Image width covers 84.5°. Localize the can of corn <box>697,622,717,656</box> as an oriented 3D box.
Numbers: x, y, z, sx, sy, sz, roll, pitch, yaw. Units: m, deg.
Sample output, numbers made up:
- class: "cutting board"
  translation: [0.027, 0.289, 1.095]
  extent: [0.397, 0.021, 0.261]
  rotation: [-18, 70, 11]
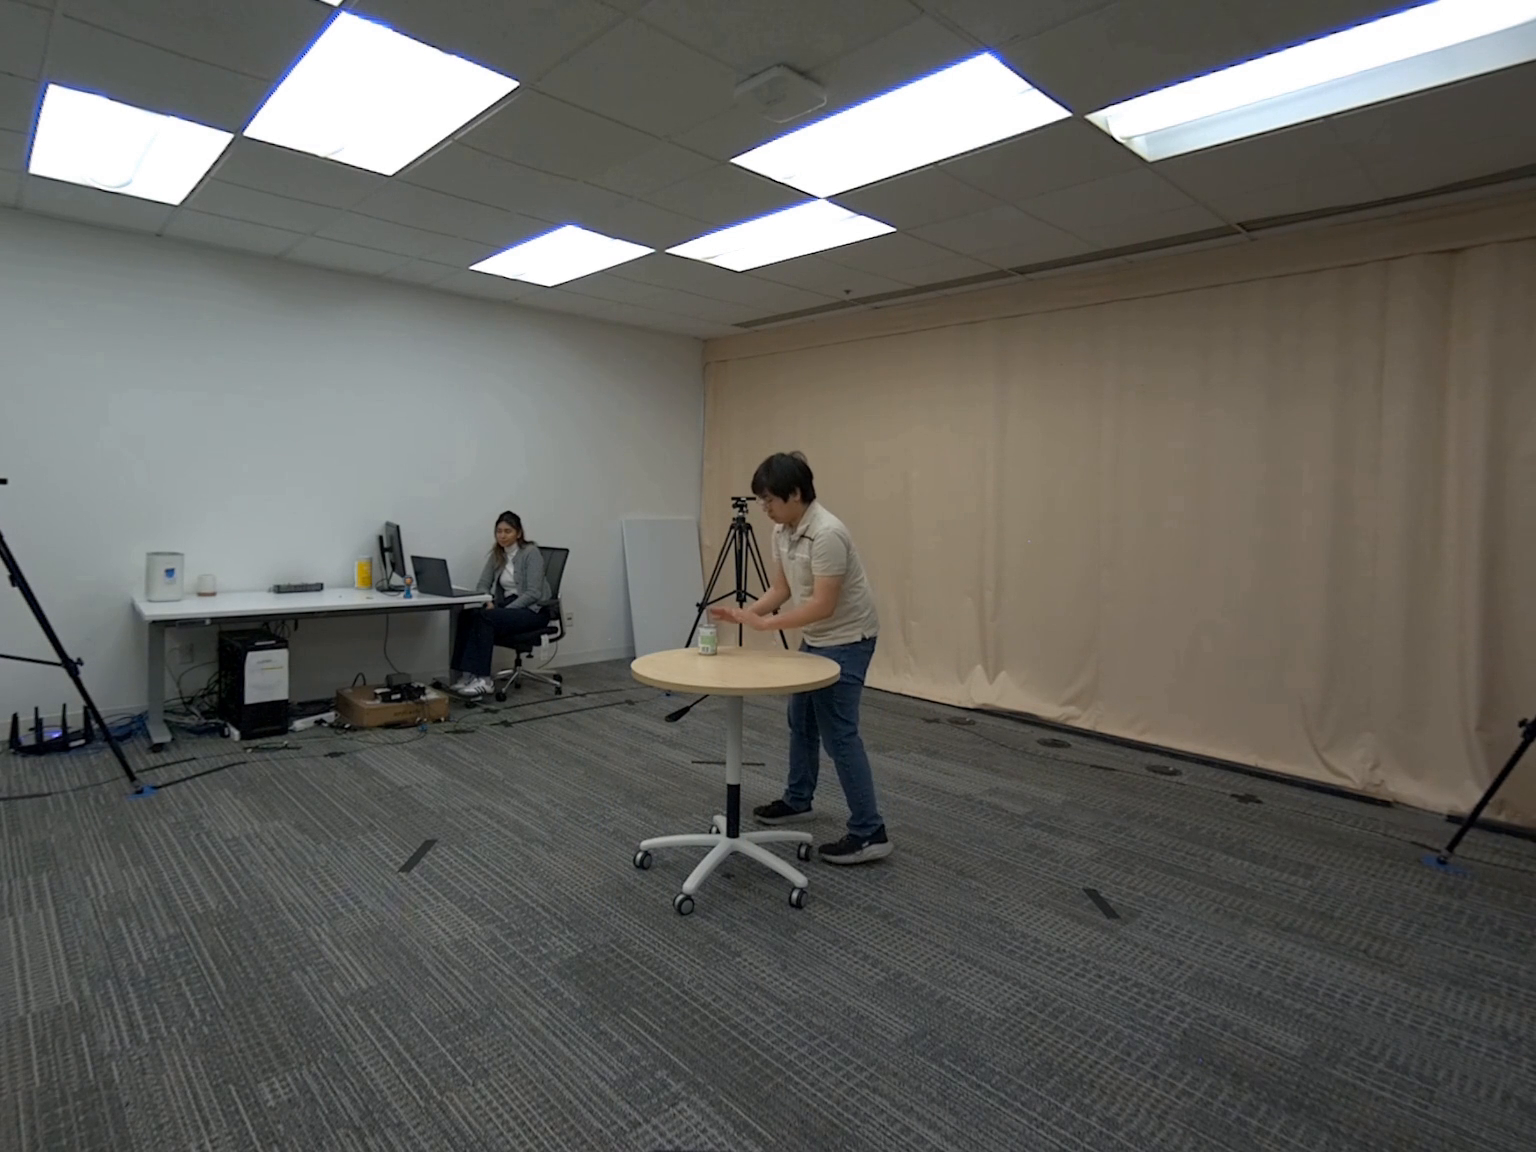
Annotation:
- class: "can of corn"
  translation: [-0.245, 0.252, 3.285]
  extent: [0.074, 0.111, 0.074]
  rotation: [1, 2, -1]
